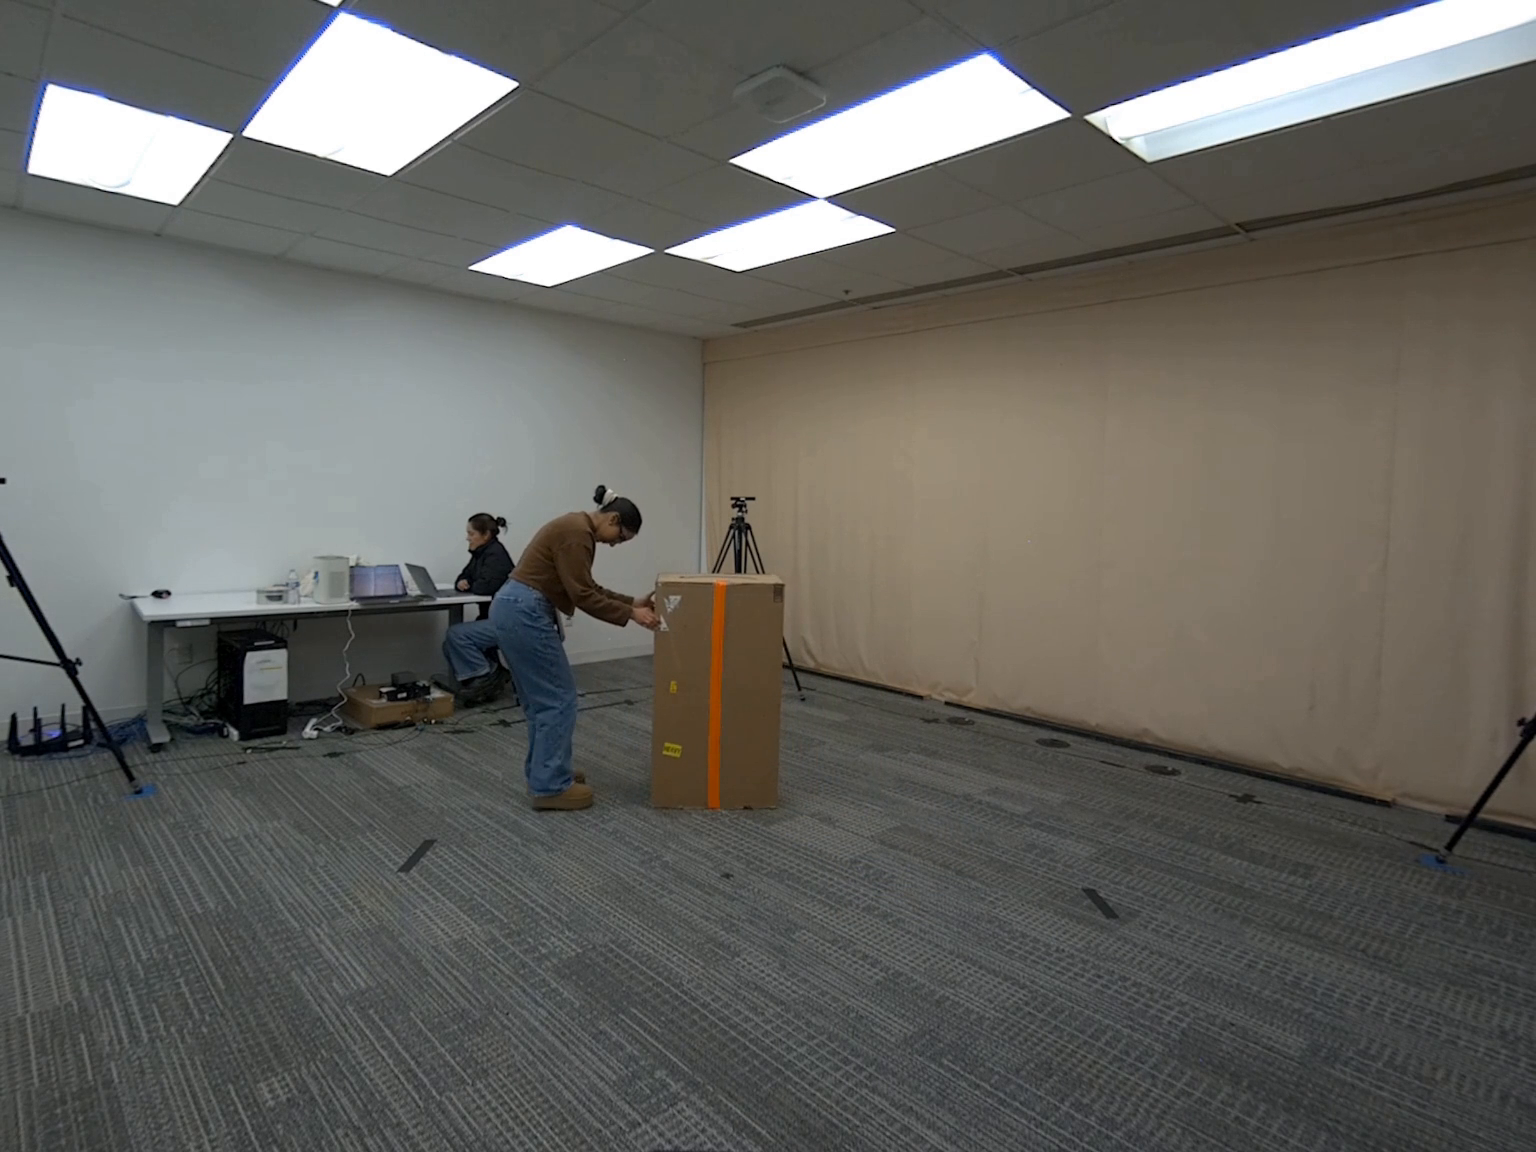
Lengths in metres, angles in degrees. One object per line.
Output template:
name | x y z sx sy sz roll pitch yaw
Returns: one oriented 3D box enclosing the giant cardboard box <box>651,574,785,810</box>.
giant cardboard box | -0.250 0.515 3.971 0.576 1.023 0.428 1 3 -4
